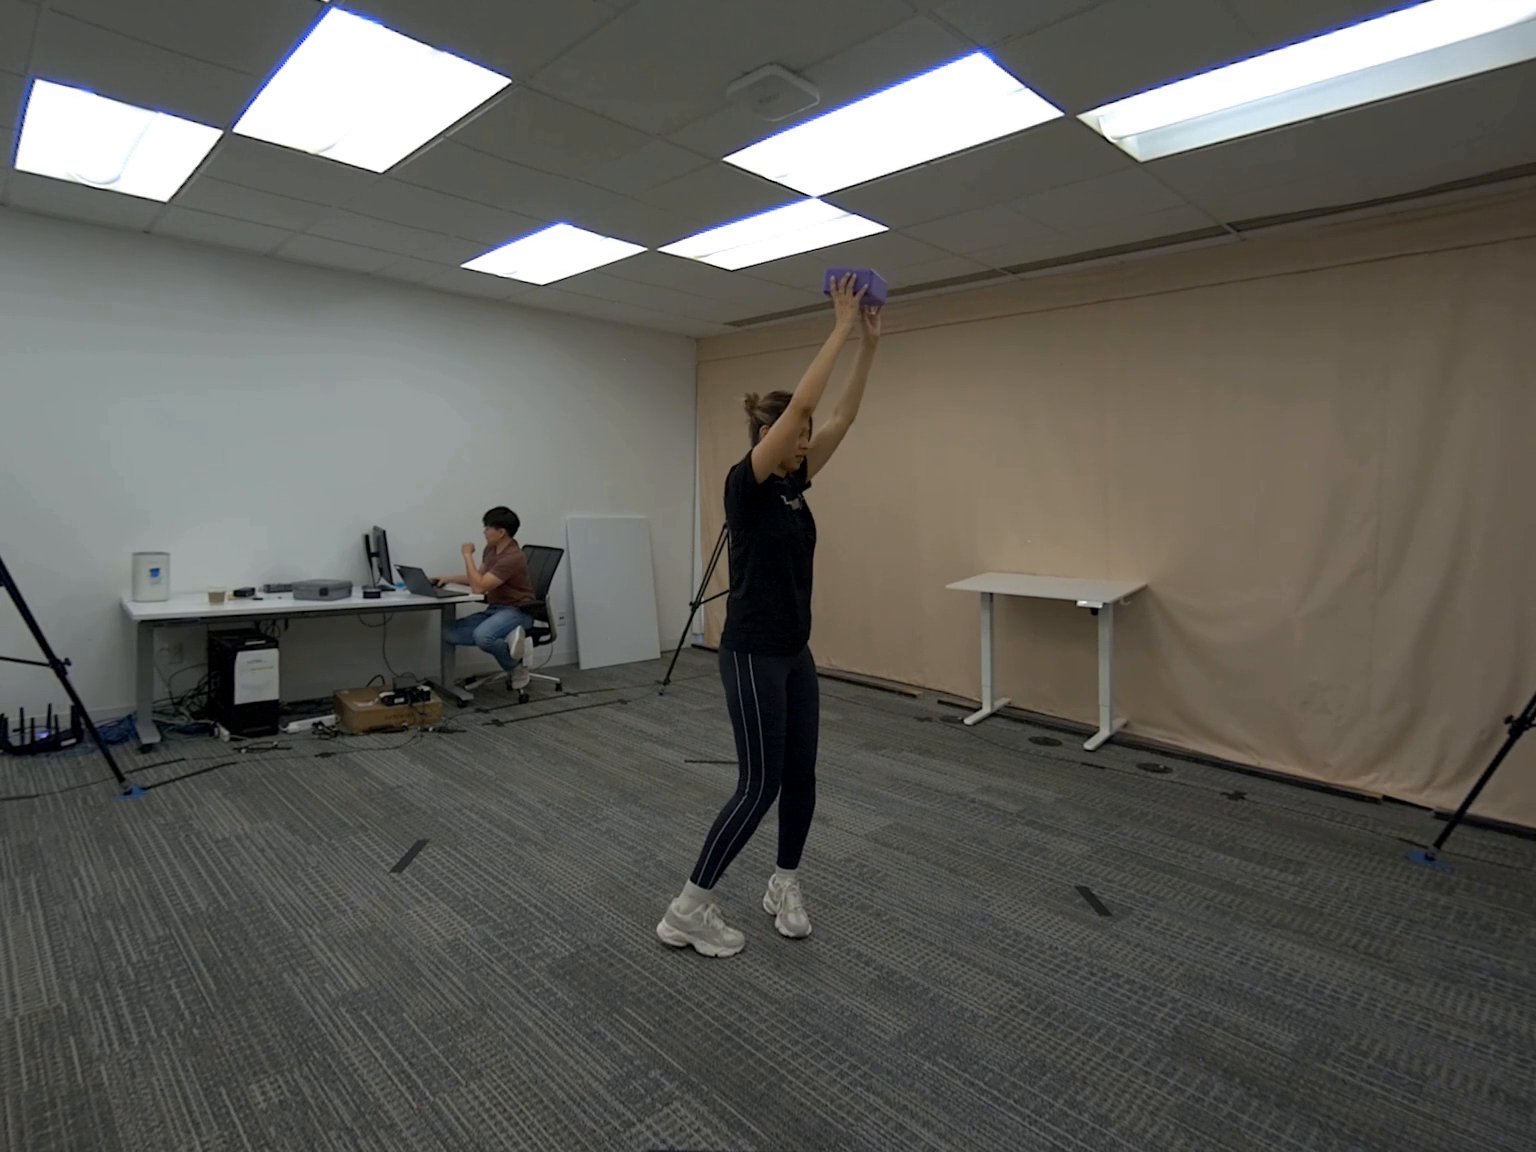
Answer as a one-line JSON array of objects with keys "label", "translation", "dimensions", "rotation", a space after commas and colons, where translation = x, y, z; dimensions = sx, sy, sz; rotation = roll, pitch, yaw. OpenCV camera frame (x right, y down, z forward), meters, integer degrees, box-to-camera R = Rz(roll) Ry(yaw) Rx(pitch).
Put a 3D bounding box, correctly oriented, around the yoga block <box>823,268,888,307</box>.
[{"label": "yoga block", "translation": [0.259, -0.878, 2.543], "dimensions": [0.151, 0.076, 0.227], "rotation": [10, 12, 19]}]
